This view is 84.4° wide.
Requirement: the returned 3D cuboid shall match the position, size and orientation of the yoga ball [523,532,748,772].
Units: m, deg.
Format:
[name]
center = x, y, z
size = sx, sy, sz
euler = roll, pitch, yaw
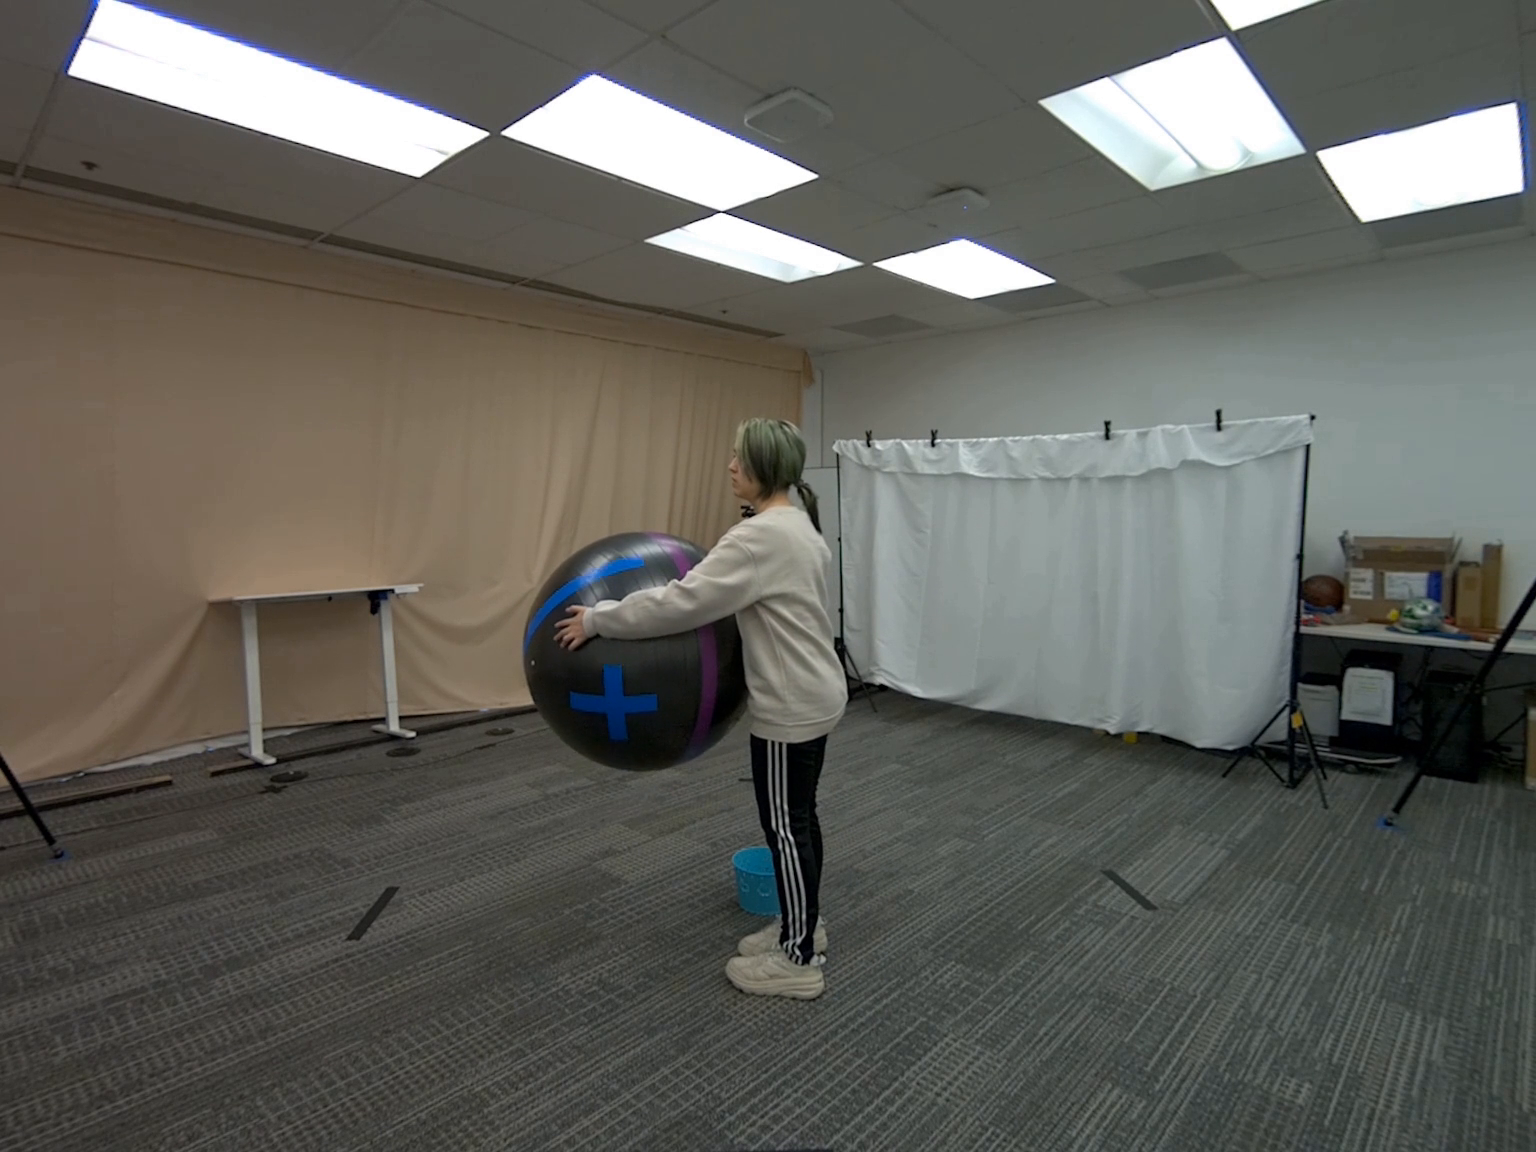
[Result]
[yoga ball]
center = -0.399, 0.244, 2.709
size = 0.757, 0.756, 0.760
euler = 0, 4, -2
